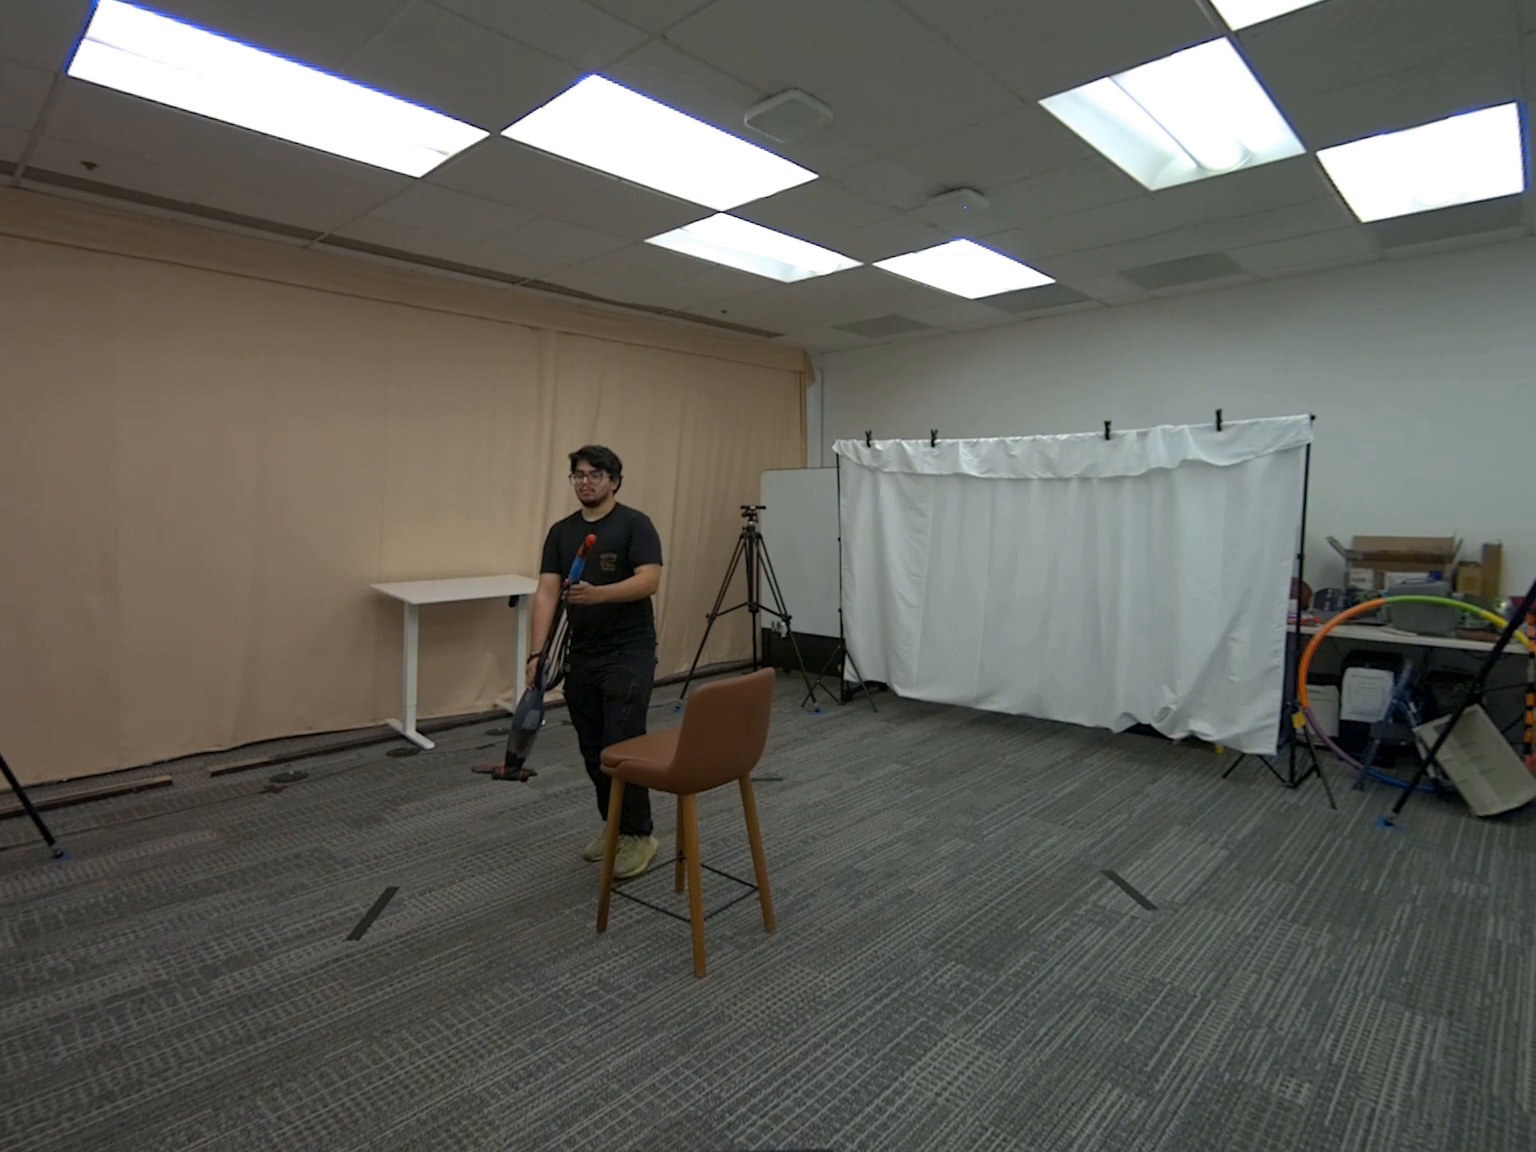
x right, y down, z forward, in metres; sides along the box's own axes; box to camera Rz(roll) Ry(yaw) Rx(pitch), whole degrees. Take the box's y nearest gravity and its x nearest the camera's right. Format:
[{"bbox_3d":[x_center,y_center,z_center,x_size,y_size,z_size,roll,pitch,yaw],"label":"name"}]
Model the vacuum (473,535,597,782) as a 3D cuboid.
[{"bbox_3d":[-0.811,0.317,3.040,0.245,1.046,0.149,10,25,-31],"label":"vacuum"}]
